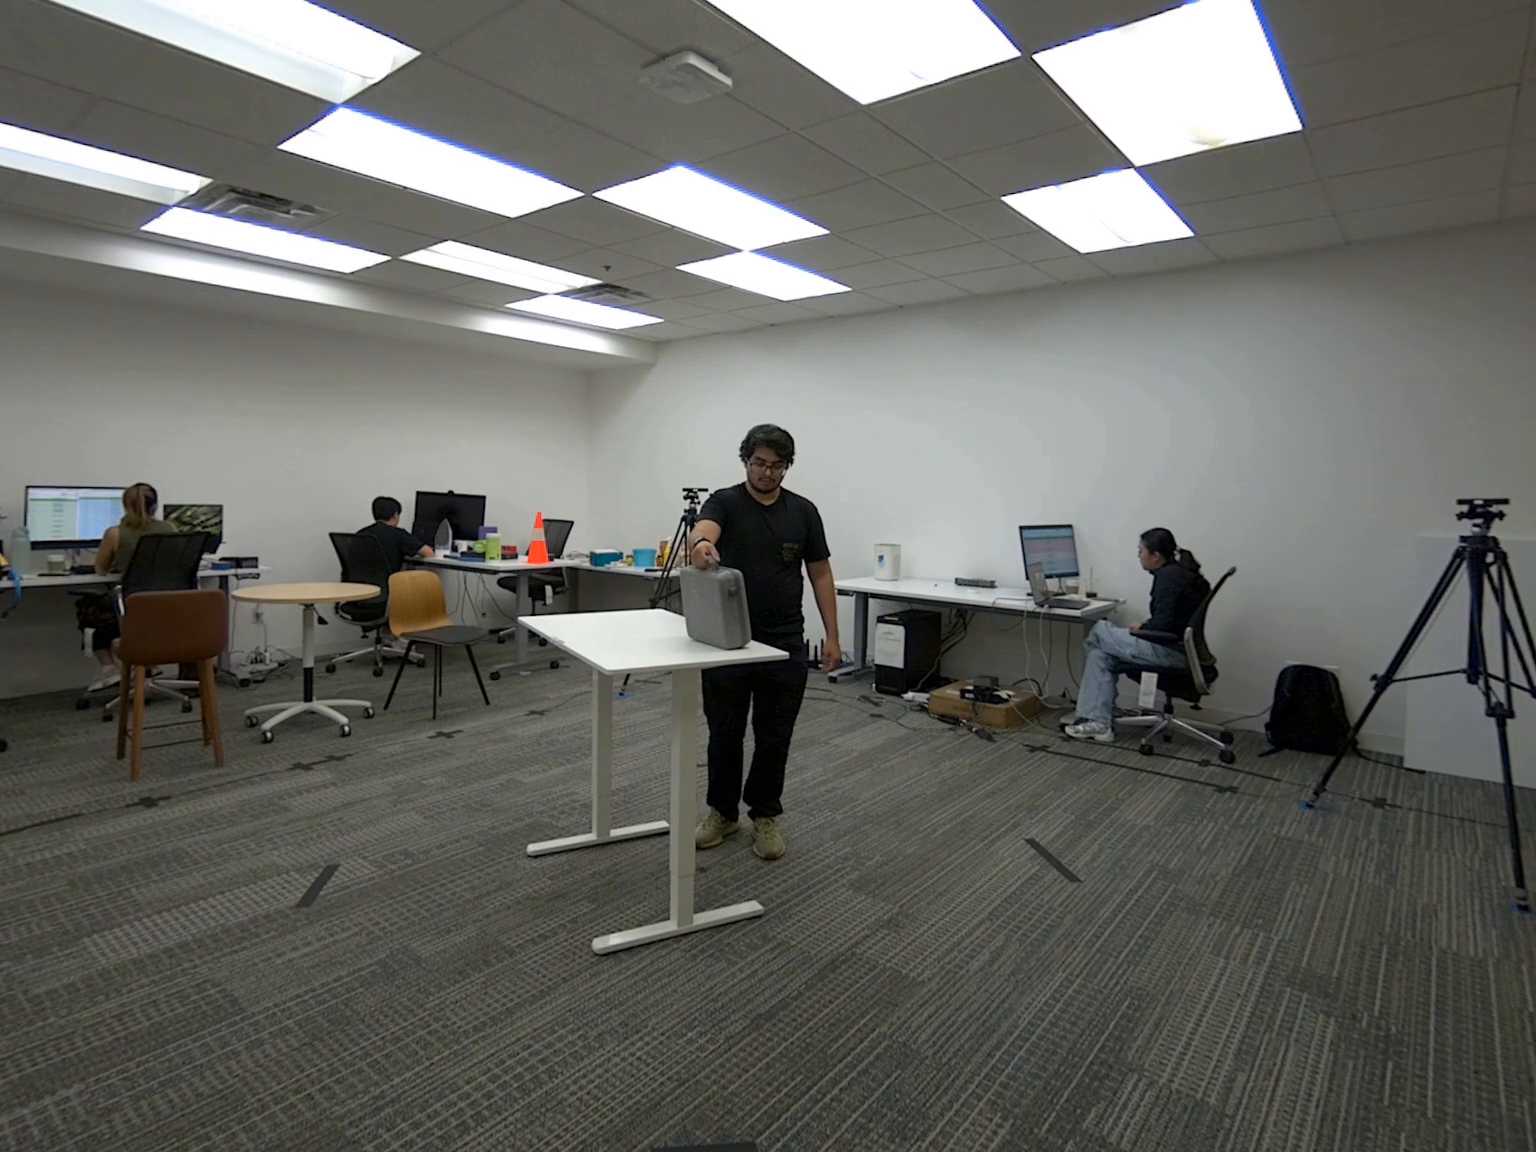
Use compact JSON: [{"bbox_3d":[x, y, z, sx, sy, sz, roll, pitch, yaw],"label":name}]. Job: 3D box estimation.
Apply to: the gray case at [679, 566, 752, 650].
[{"bbox_3d":[-0.183,0.086,2.774,0.102,0.258,0.265,-9,10,-33],"label":"gray case"}]
